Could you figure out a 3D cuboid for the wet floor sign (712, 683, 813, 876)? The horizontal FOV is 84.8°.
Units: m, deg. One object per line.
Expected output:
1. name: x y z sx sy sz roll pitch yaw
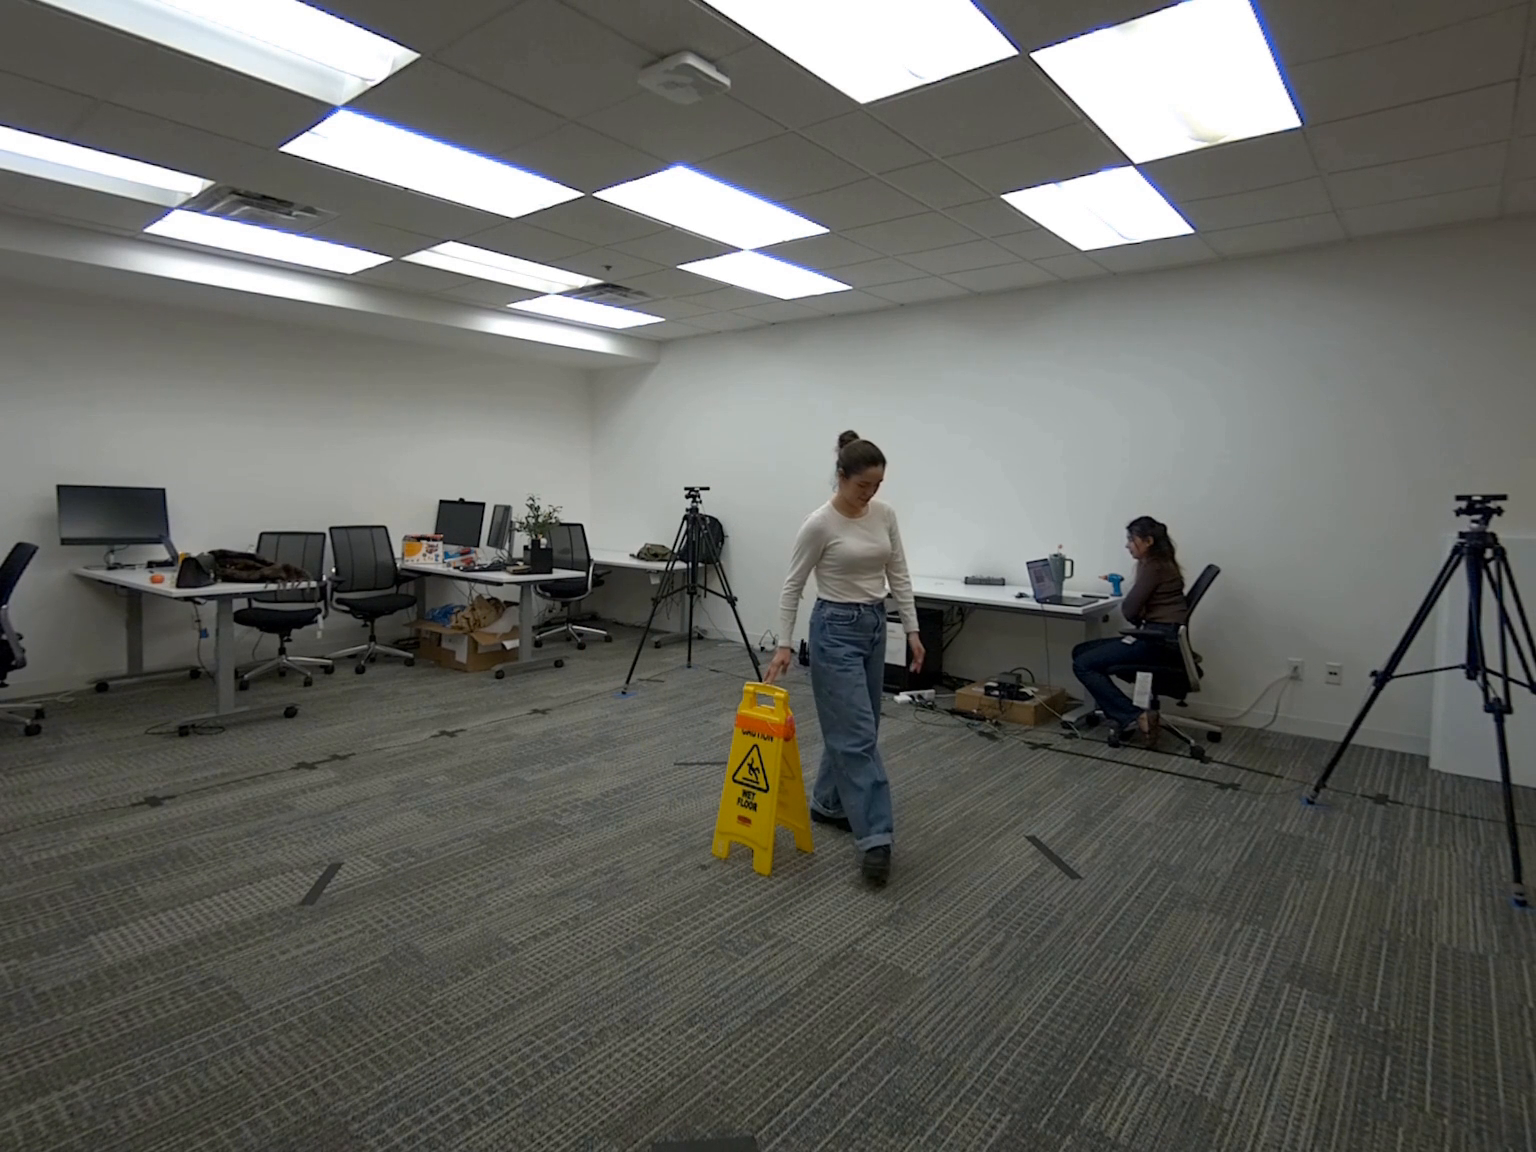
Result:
1. wet floor sign: -0.021 0.731 3.236 0.292 0.644 0.281 4 4 38
